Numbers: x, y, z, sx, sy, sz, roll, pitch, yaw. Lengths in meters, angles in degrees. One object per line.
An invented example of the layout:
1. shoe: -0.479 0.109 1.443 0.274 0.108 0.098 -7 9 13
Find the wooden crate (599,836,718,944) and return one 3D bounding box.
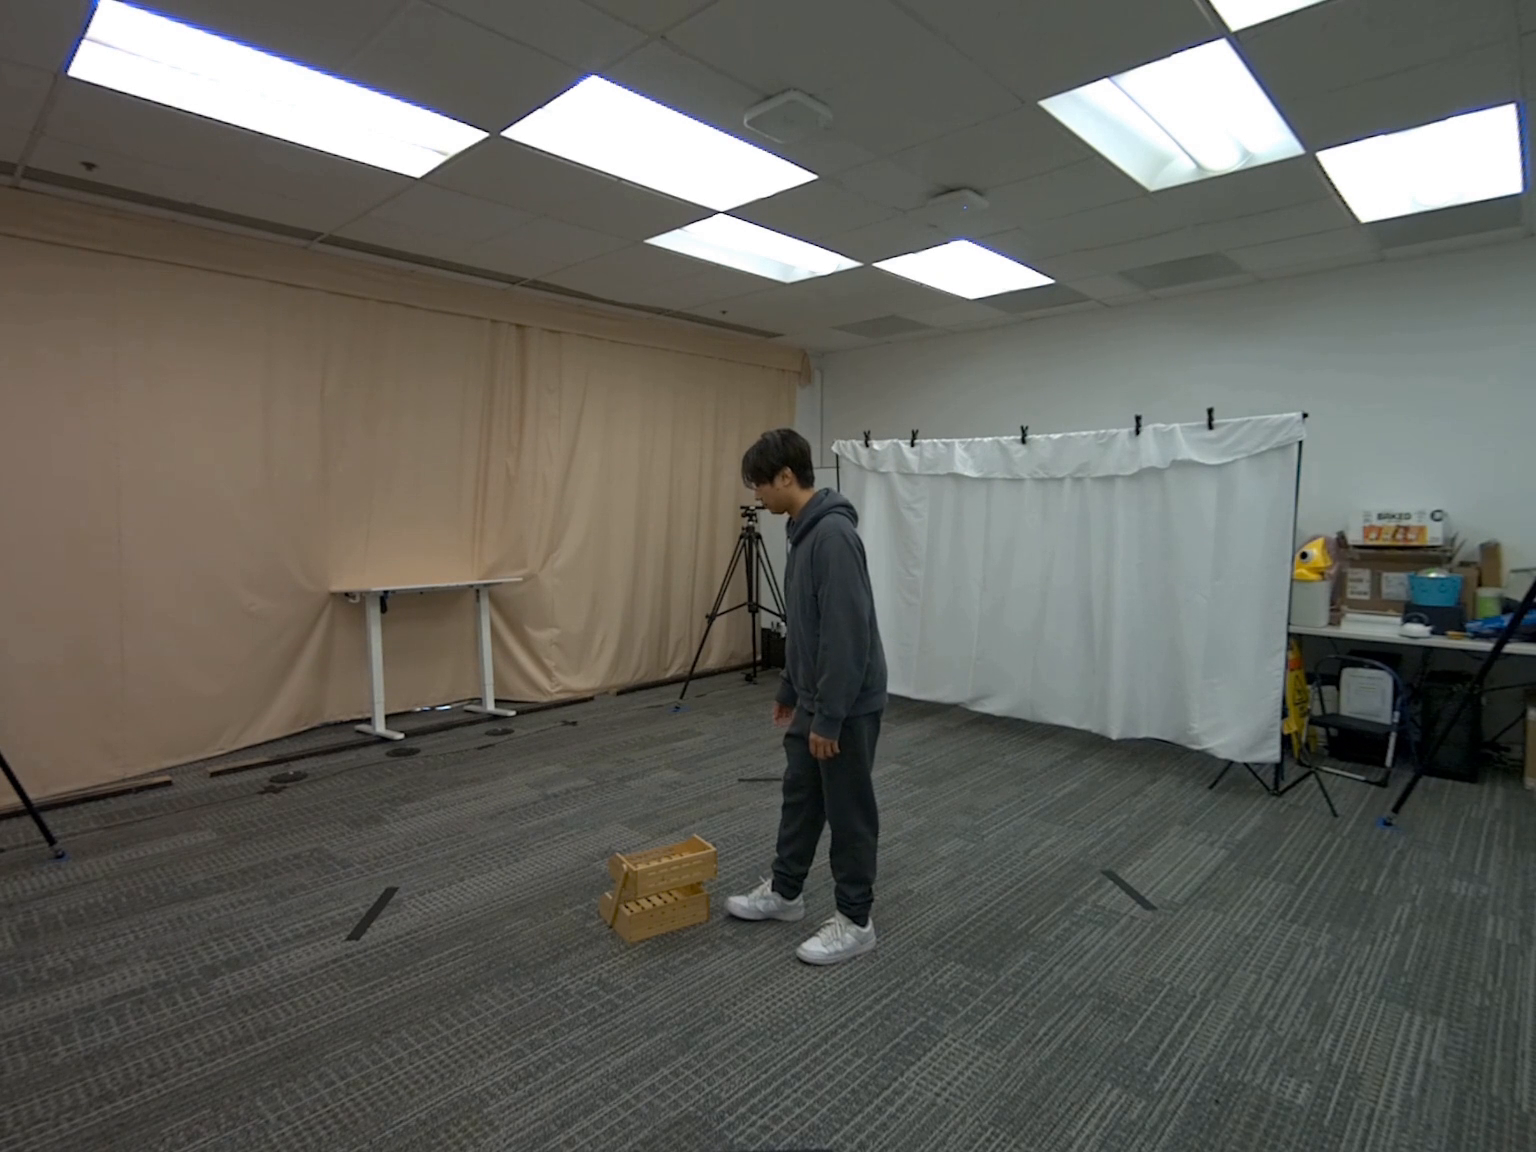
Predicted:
1. wooden crate: -0.375 1.028 2.838 0.315 0.272 0.311 -3 5 -33
